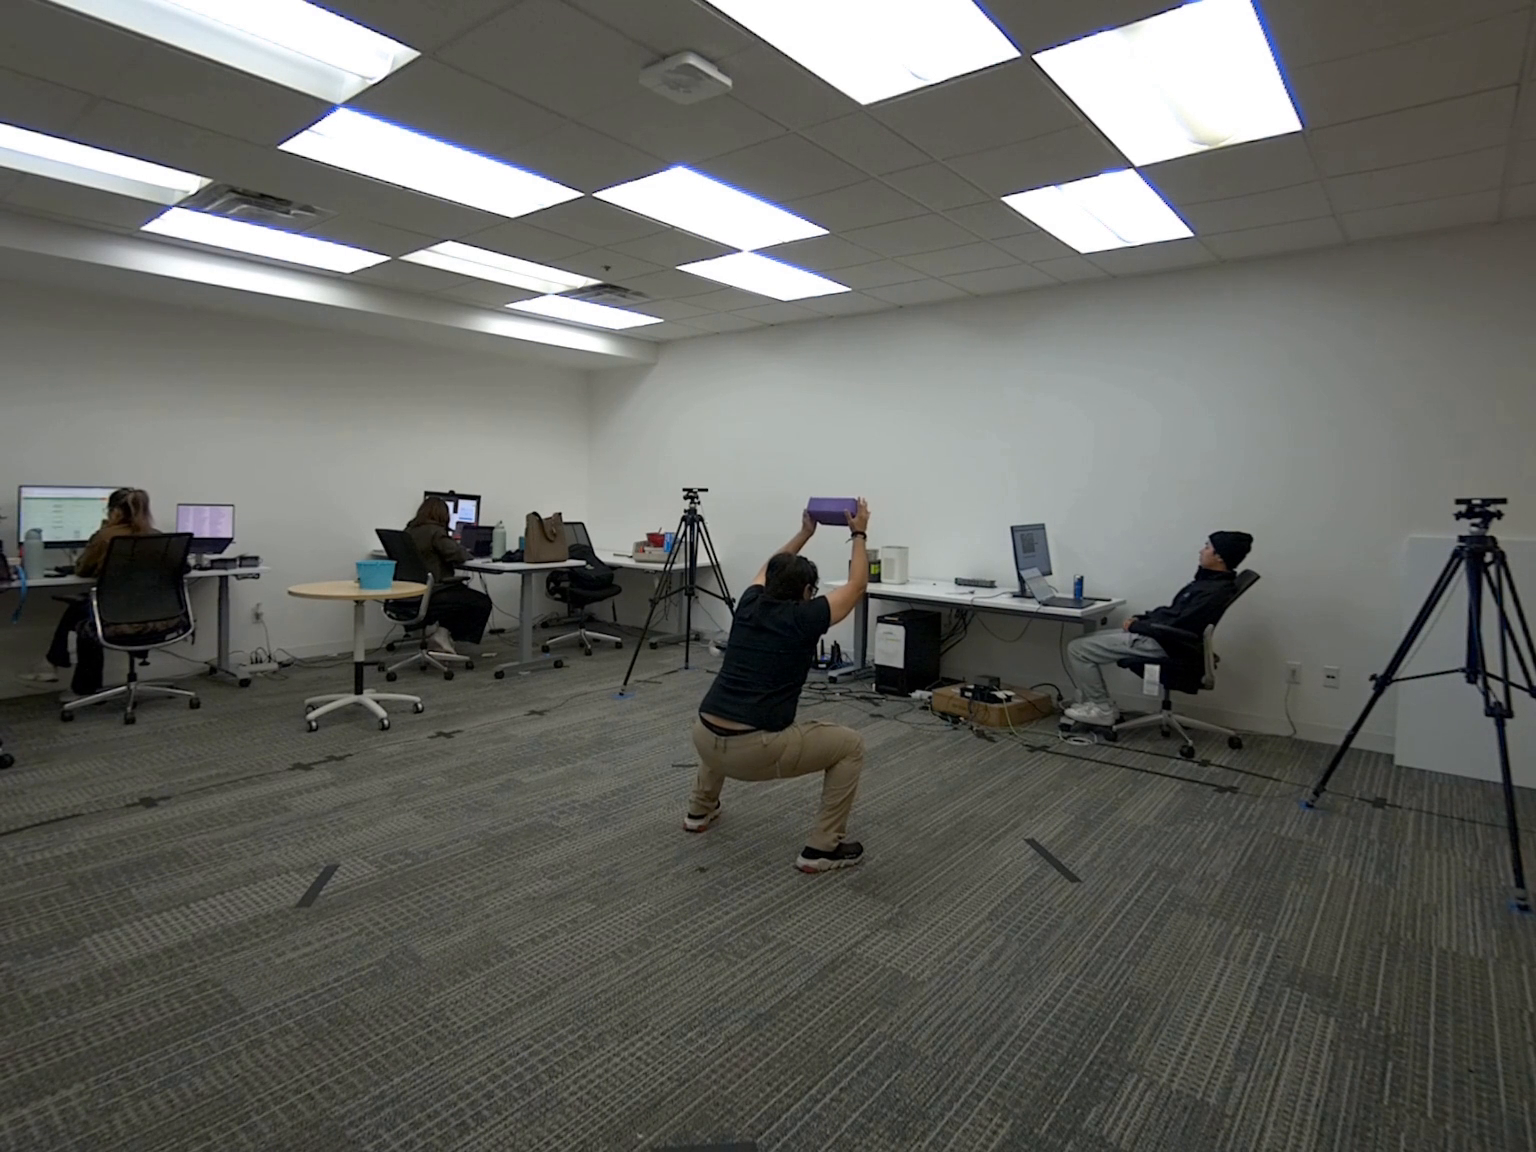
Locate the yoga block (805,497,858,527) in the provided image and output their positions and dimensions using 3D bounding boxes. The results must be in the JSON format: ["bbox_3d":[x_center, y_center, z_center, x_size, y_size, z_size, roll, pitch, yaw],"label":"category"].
[{"bbox_3d":[0.284,-0.286,3.663,0.237,0.077,0.143,4,-22,36],"label":"yoga block"}]
